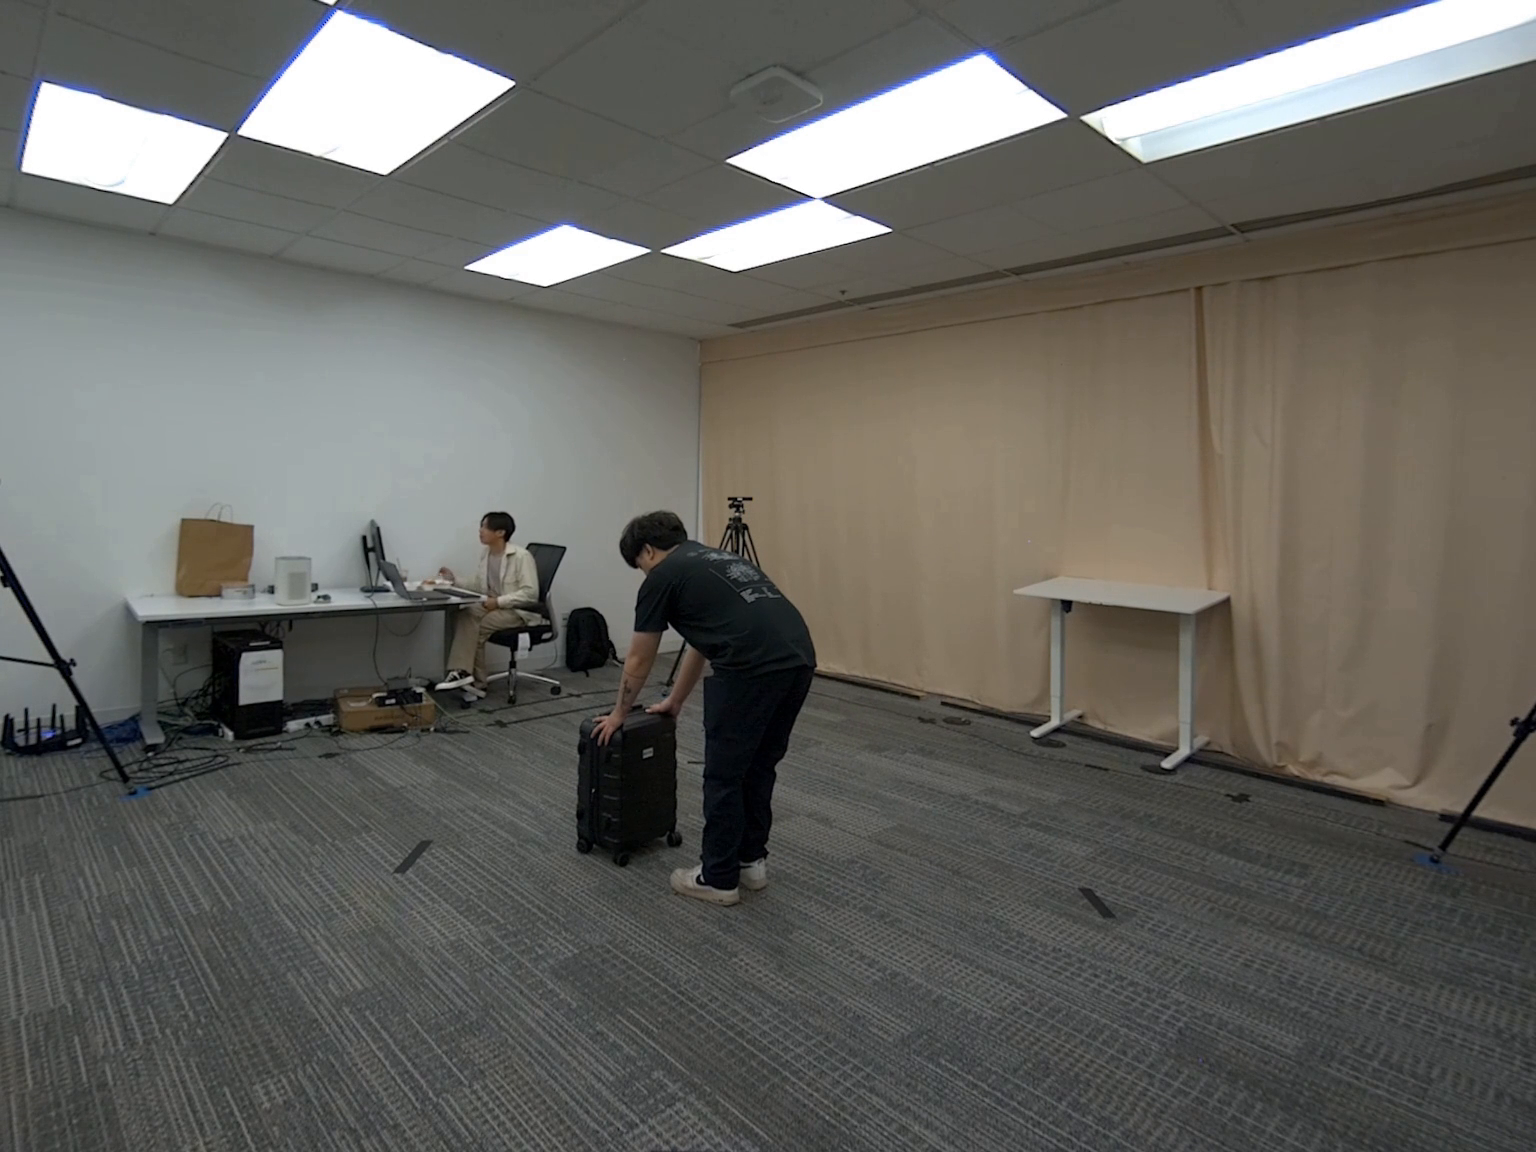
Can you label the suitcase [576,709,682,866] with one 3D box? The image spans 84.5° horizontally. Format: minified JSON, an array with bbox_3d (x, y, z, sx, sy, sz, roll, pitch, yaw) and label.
[{"bbox_3d":[-0.562,0.806,3.333,0.254,0.548,0.367,2,3,38],"label":"suitcase"}]
